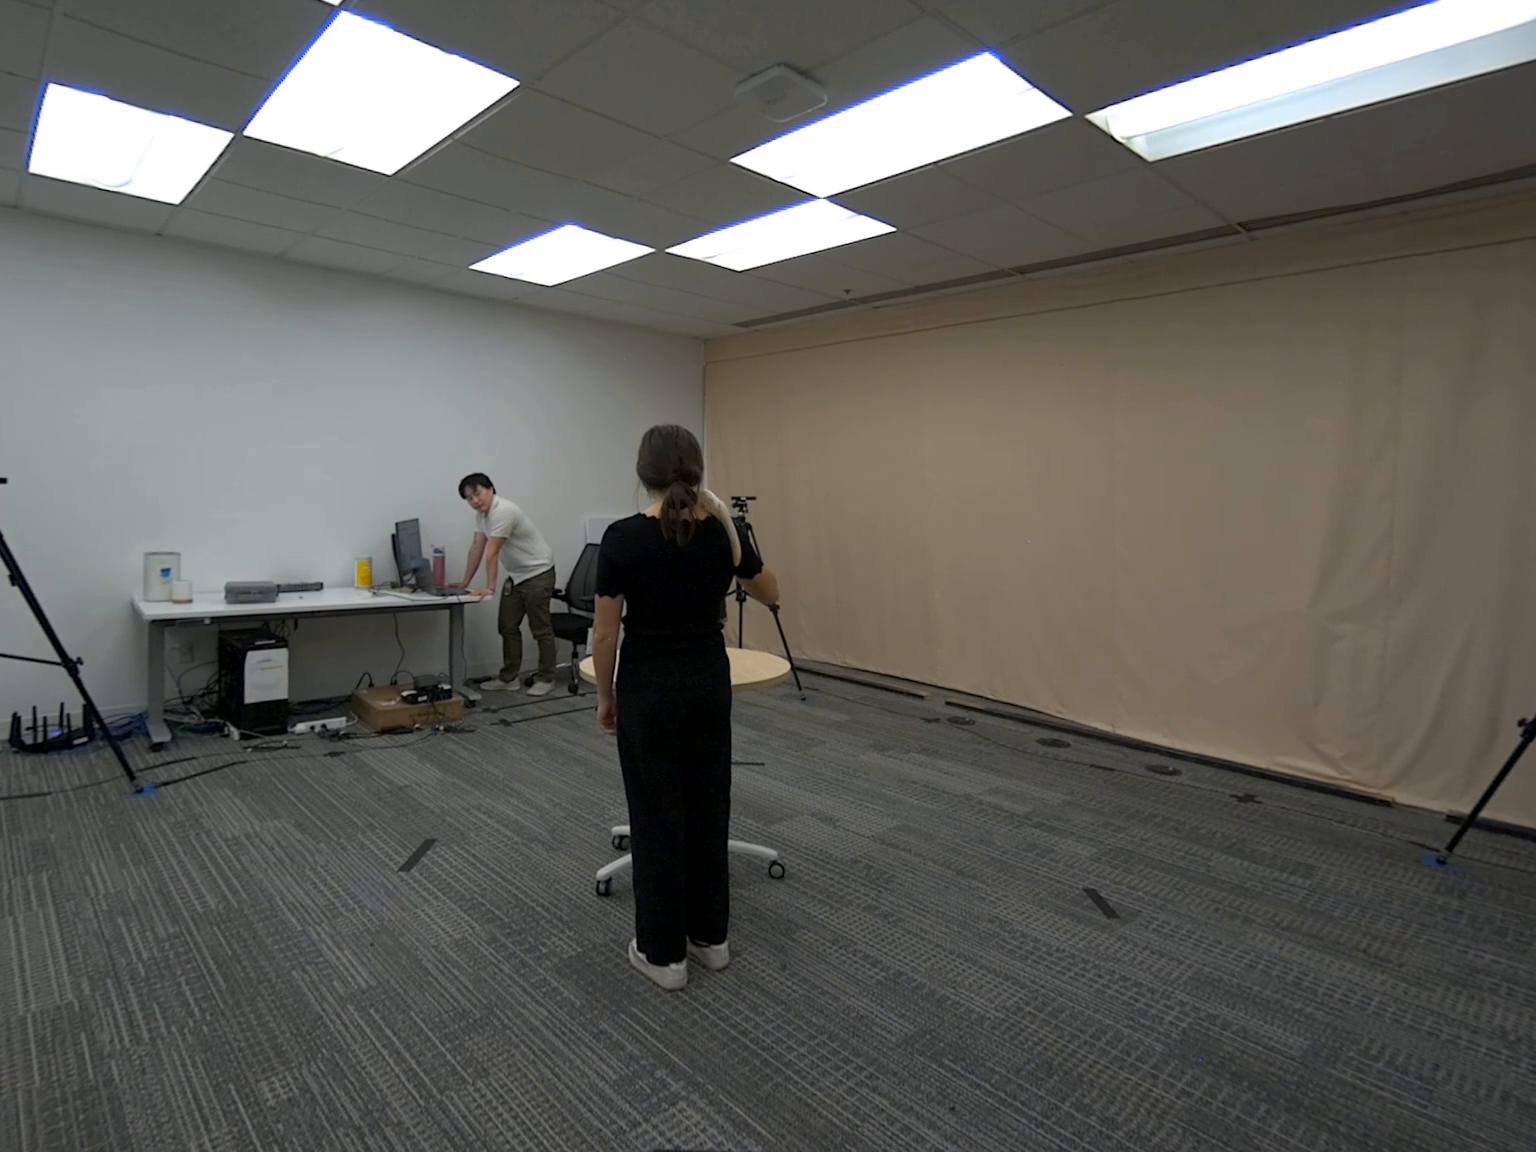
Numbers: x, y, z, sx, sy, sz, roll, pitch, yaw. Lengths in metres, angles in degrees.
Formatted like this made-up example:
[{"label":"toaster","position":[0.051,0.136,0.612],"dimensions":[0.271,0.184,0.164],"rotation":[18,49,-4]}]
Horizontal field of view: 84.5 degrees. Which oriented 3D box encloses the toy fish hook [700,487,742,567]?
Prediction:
[{"label":"toy fish hook","position":[-0.138,-0.017,2.480],"dimensions":[0.048,0.495,0.232],"rotation":[-22,41,-23]}]
